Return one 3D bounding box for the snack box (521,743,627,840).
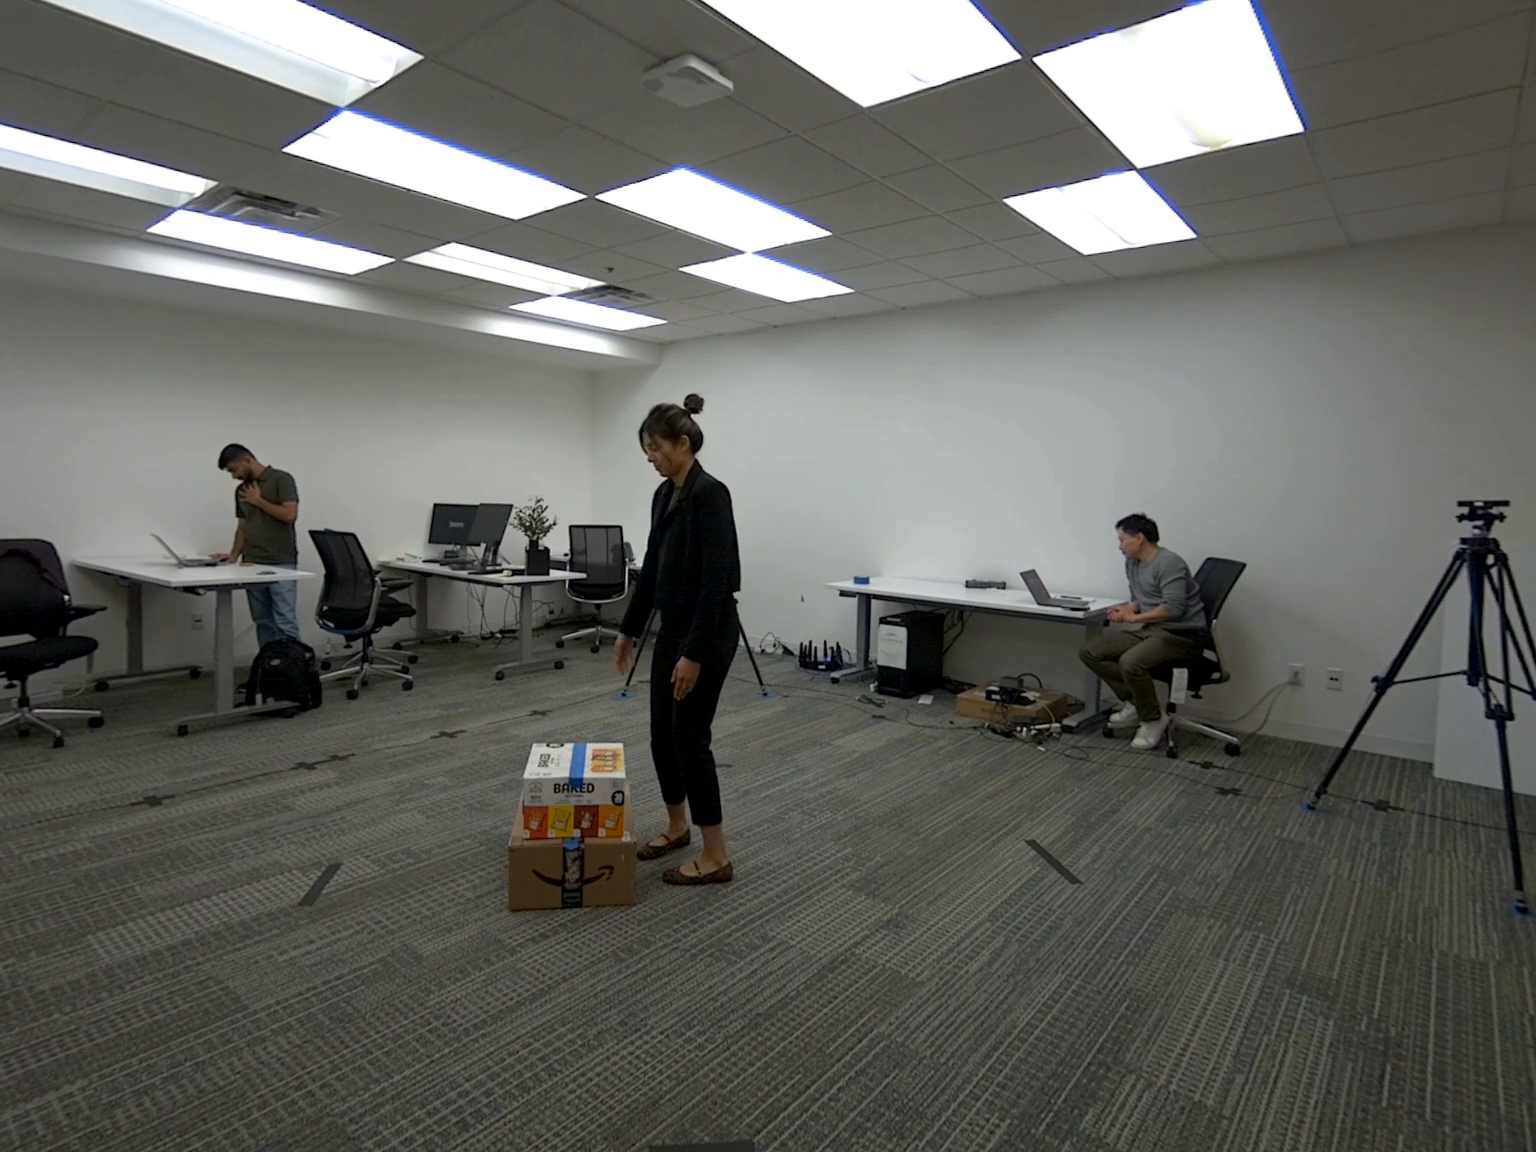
[{"bbox_3d":[-0.698,0.755,3.039,0.337,0.205,0.411,2,5,-10],"label":"snack box"}]
